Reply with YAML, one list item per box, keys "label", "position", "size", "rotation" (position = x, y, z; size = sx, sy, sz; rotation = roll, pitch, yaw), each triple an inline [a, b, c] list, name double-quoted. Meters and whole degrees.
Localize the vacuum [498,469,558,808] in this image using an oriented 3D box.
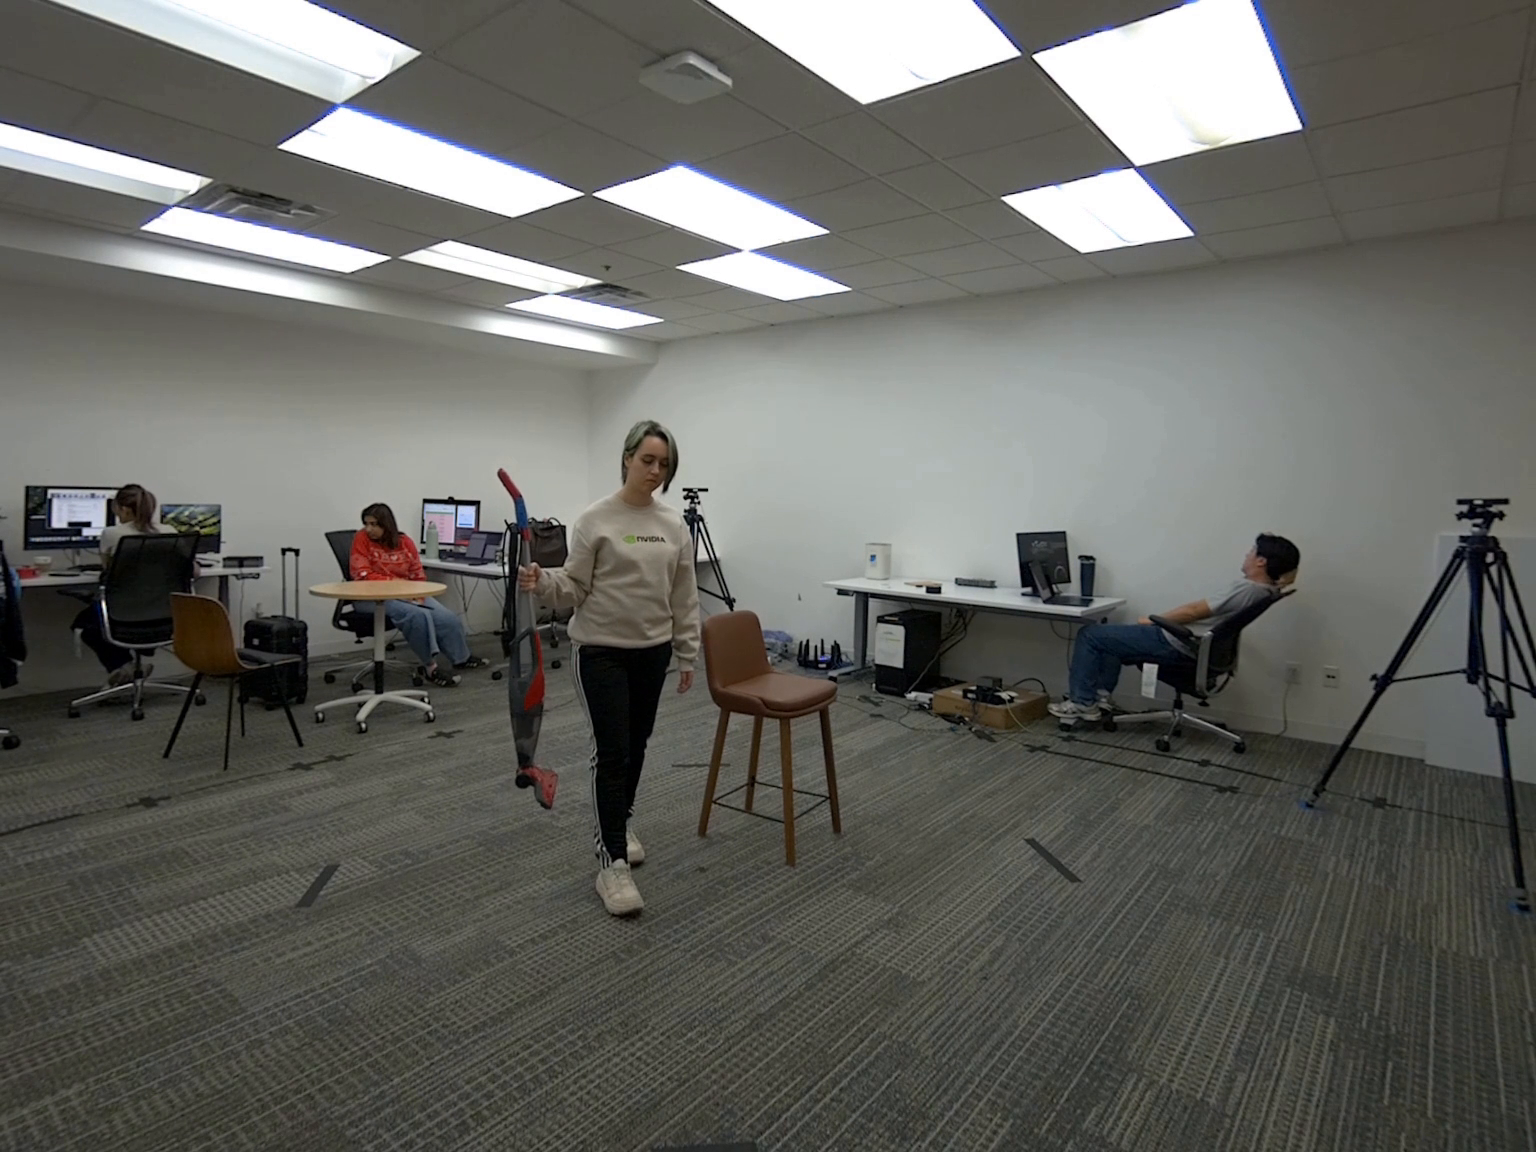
- label: "vacuum"
  position: [-0.834, 0.177, 2.783]
  size: [0.143, 1.041, 0.256]
  rotation: [-6, 7, -8]
